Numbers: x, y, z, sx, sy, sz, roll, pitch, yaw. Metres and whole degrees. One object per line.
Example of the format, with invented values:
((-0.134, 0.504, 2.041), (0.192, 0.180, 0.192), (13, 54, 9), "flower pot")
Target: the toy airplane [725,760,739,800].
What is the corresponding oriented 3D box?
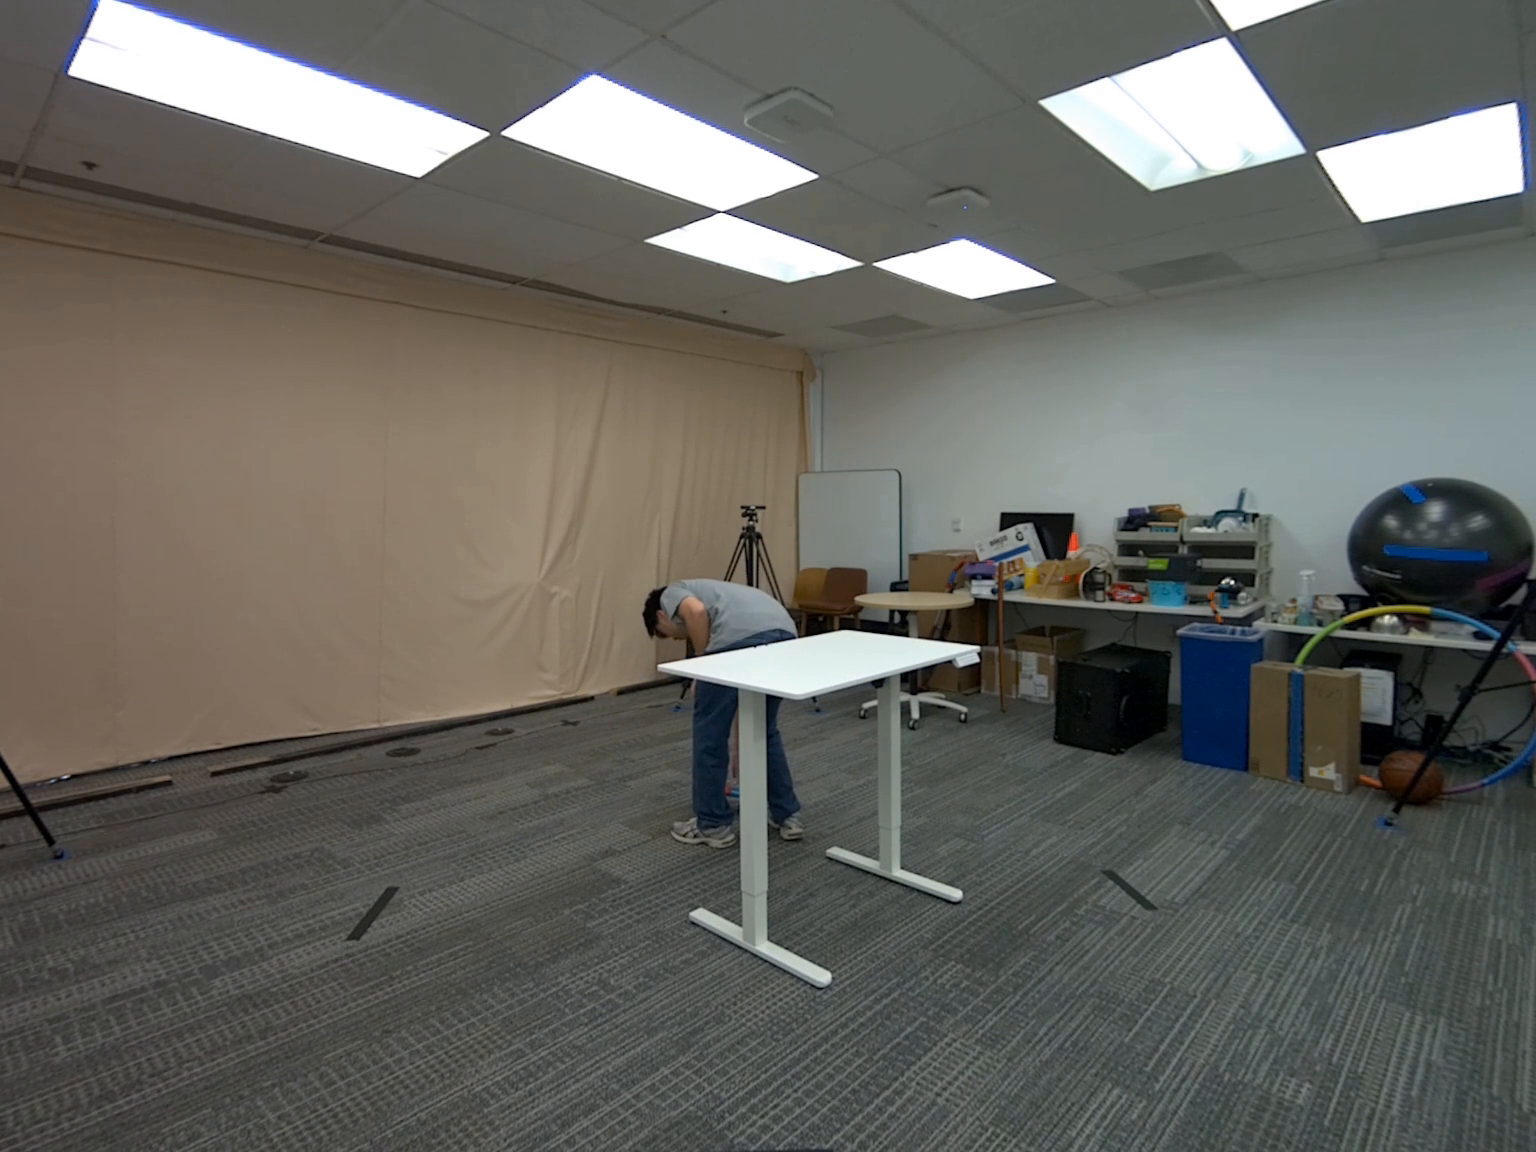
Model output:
((-0.208, 1.001, 3.831), (0.251, 0.156, 0.259), (-4, 5, -42), "toy airplane")
